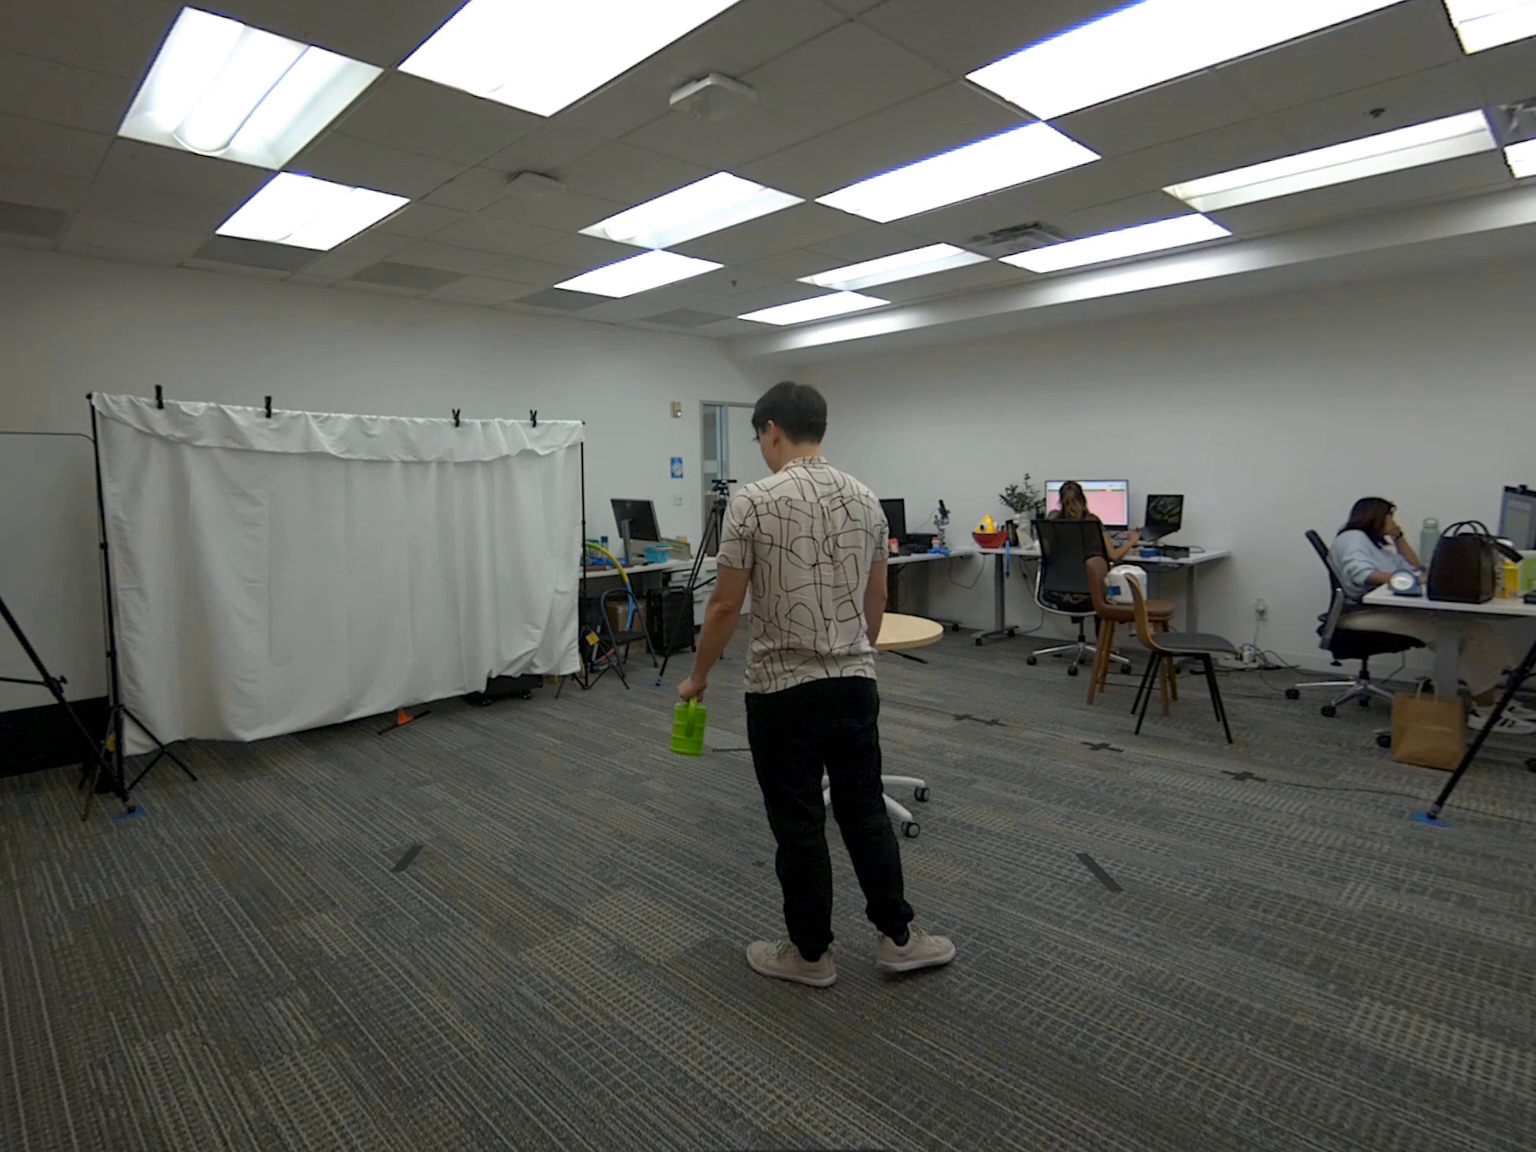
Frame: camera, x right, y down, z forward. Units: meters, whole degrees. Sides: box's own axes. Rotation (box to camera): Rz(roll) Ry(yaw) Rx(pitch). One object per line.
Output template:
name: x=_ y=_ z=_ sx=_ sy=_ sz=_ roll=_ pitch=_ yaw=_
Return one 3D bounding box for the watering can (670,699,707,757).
watering can: x=-0.202 y=0.424 z=2.463 sx=0.099 sy=0.178 sz=0.274 roll=5 pitch=-9 yaw=6
